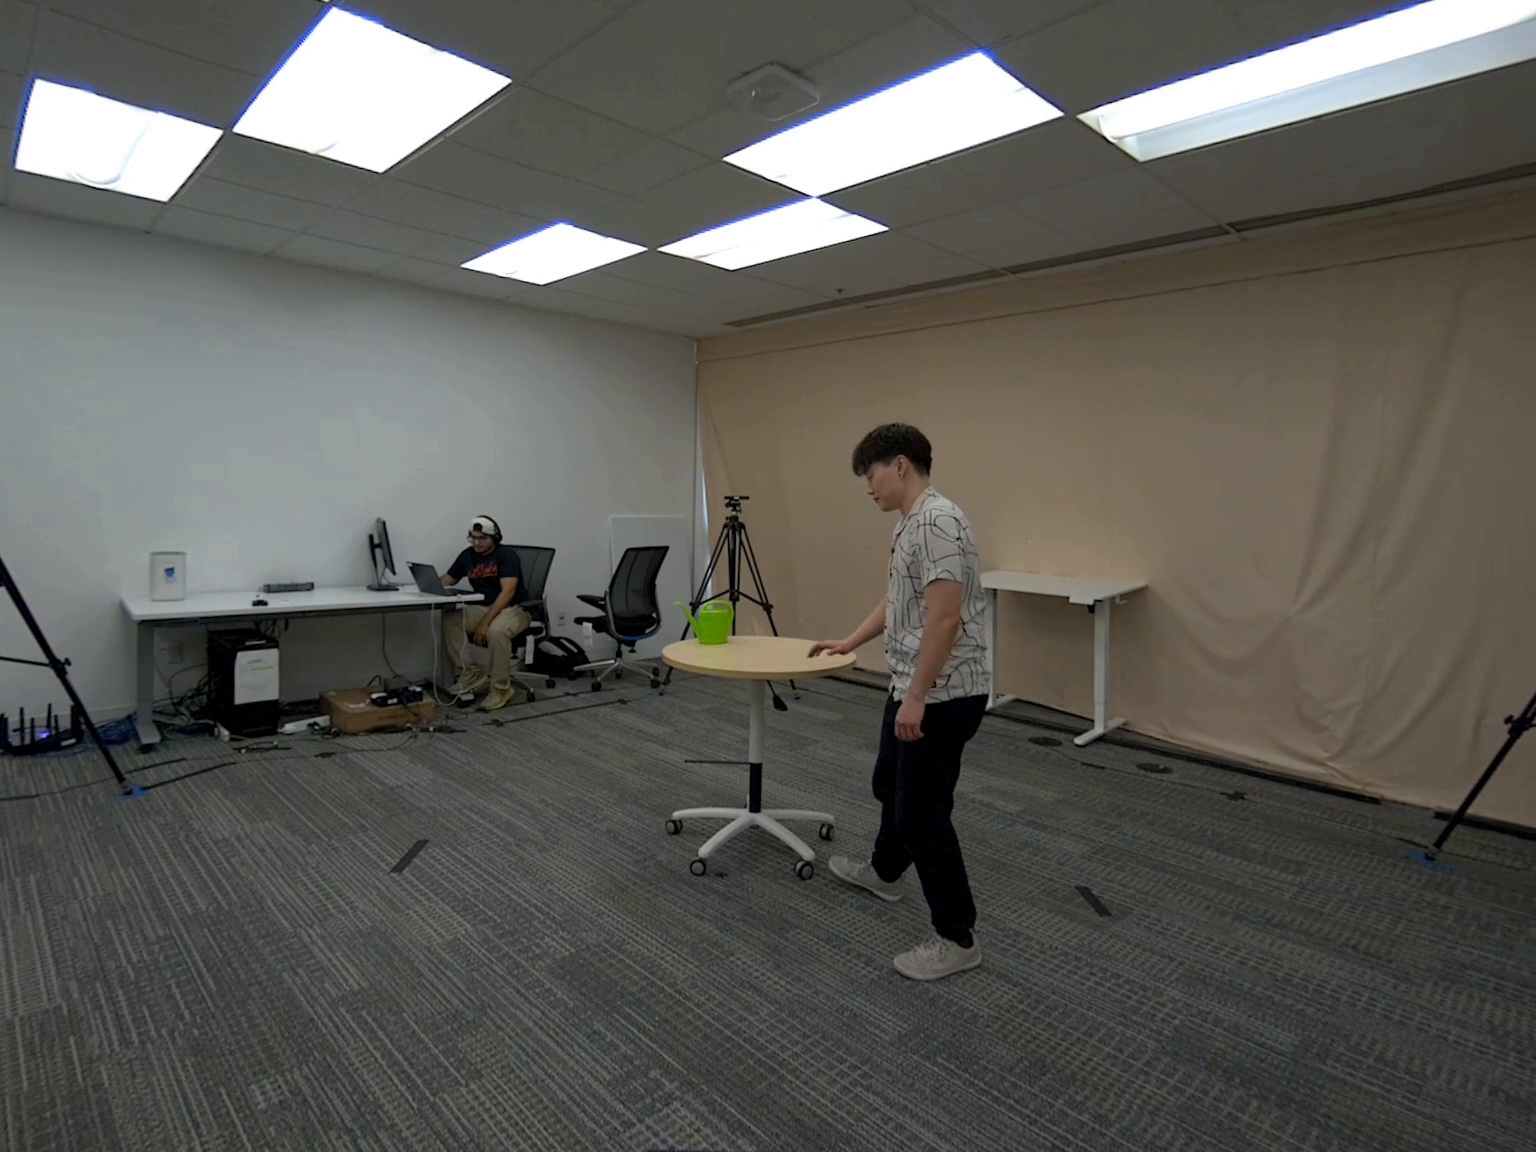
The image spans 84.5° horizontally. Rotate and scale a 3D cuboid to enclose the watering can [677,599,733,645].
[{"bbox_3d":[-0.285,0.189,3.514,0.274,0.176,0.099,3,6,-16],"label":"watering can"}]
